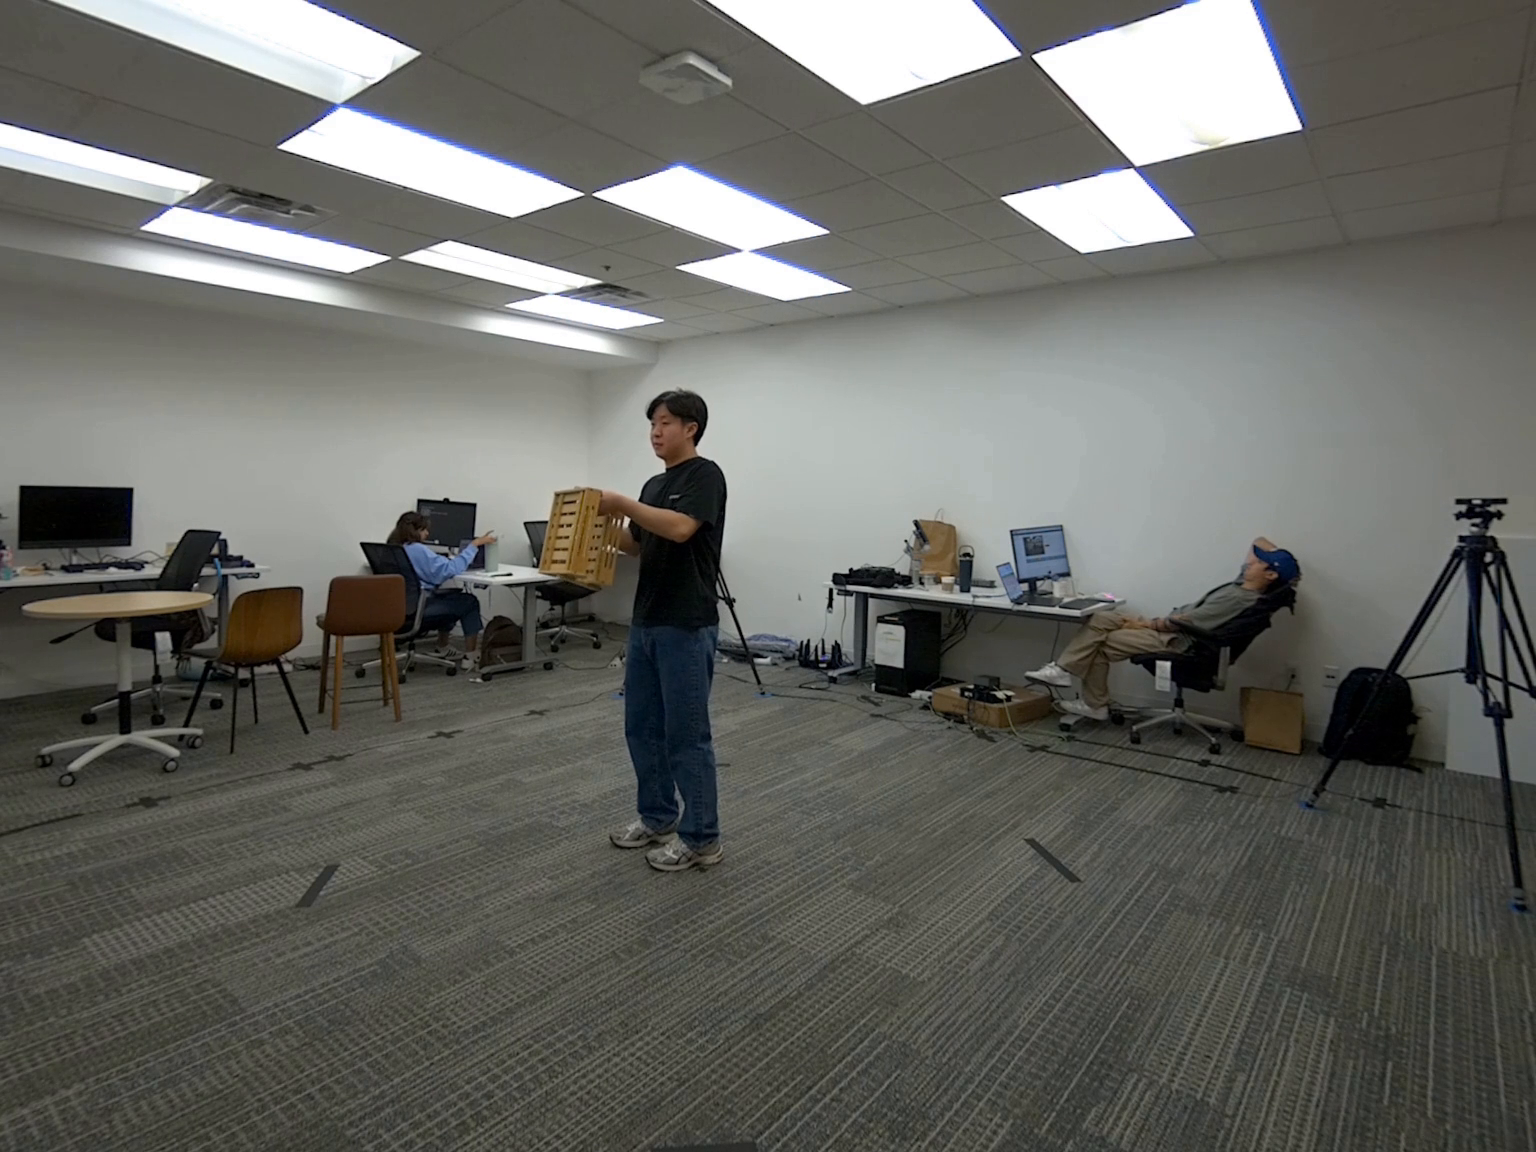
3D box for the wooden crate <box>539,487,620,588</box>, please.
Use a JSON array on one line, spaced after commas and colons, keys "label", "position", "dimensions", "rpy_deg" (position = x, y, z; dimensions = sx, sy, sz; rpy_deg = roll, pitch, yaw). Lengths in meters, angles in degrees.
[{"label": "wooden crate", "position": [-0.643, -0.136, 3.069], "dimensions": [0.263, 0.327, 0.311], "rpy_deg": [18, -13, -41]}]
